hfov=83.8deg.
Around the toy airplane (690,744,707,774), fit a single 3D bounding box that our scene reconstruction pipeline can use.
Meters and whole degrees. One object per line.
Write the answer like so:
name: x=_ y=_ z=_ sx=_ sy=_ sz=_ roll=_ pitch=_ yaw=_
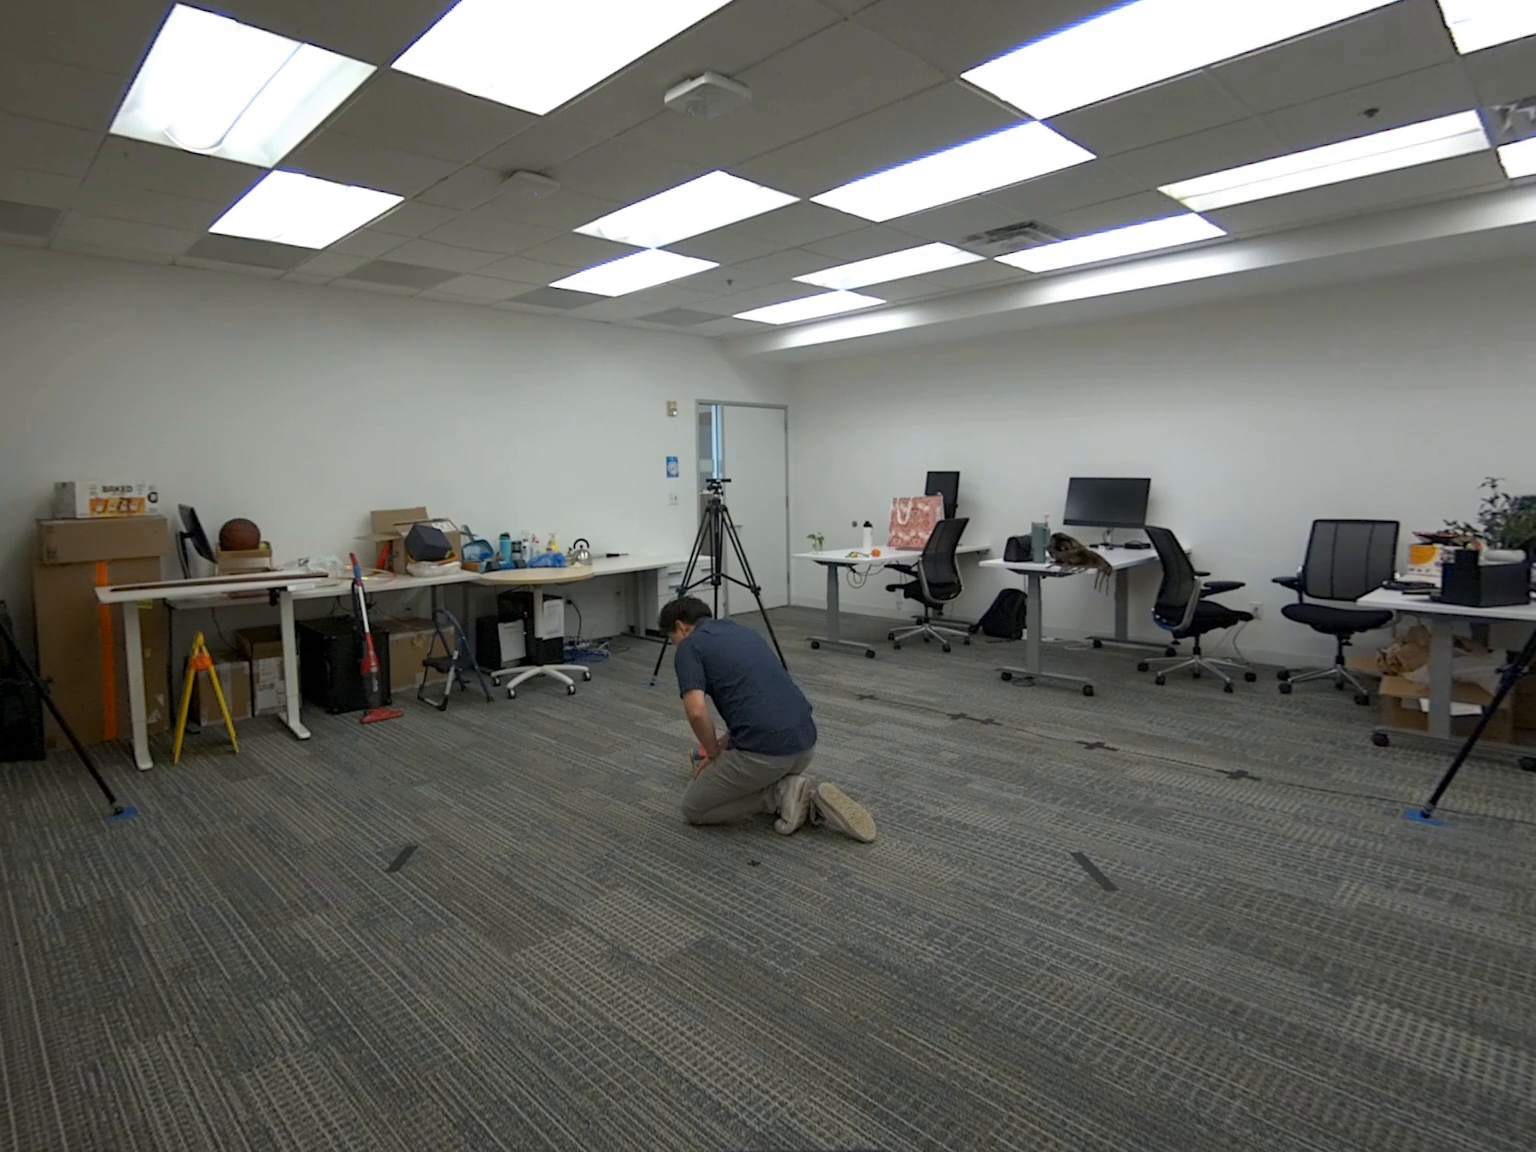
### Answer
toy airplane: x=-0.229 y=0.851 z=4.017 sx=0.256 sy=0.156 sz=0.255 roll=-25 pitch=5 yaw=-26
